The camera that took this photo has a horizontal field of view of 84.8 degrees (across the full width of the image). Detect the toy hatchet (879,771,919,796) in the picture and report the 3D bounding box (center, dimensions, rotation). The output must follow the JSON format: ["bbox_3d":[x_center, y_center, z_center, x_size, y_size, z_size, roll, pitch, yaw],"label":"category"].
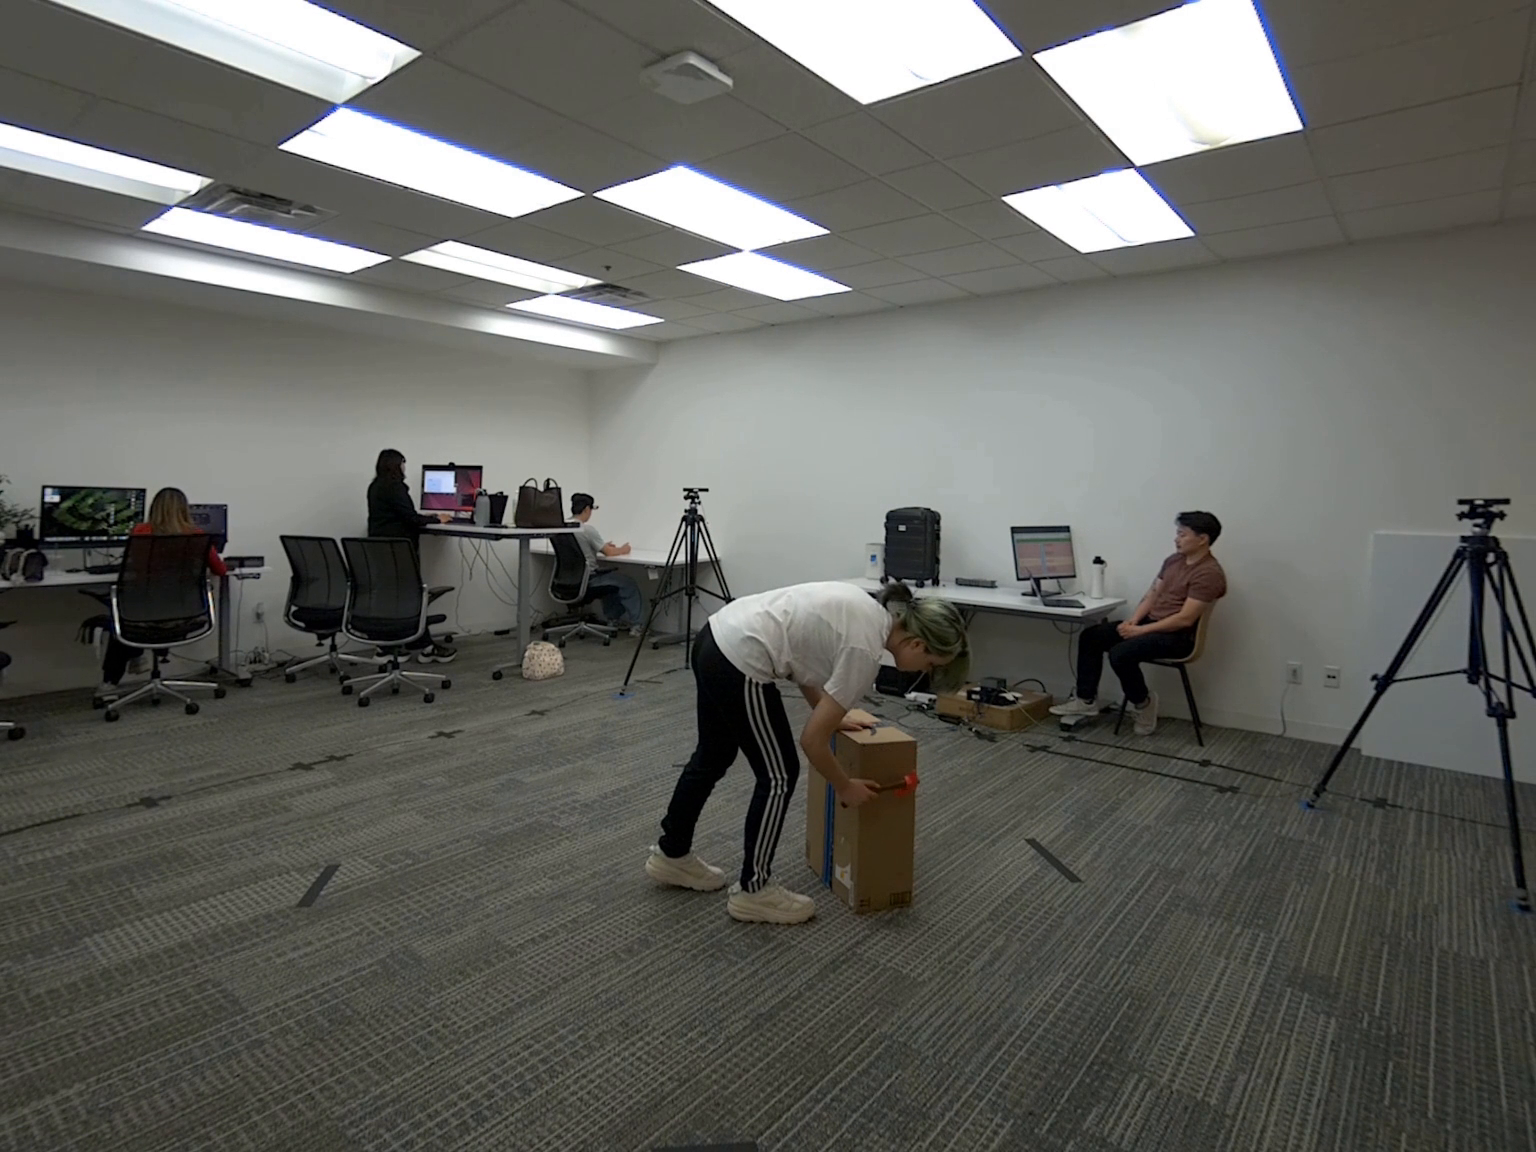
[{"bbox_3d":[0.369,0.727,2.815,0.271,0.126,0.031,-22,45,6],"label":"toy hatchet"}]
